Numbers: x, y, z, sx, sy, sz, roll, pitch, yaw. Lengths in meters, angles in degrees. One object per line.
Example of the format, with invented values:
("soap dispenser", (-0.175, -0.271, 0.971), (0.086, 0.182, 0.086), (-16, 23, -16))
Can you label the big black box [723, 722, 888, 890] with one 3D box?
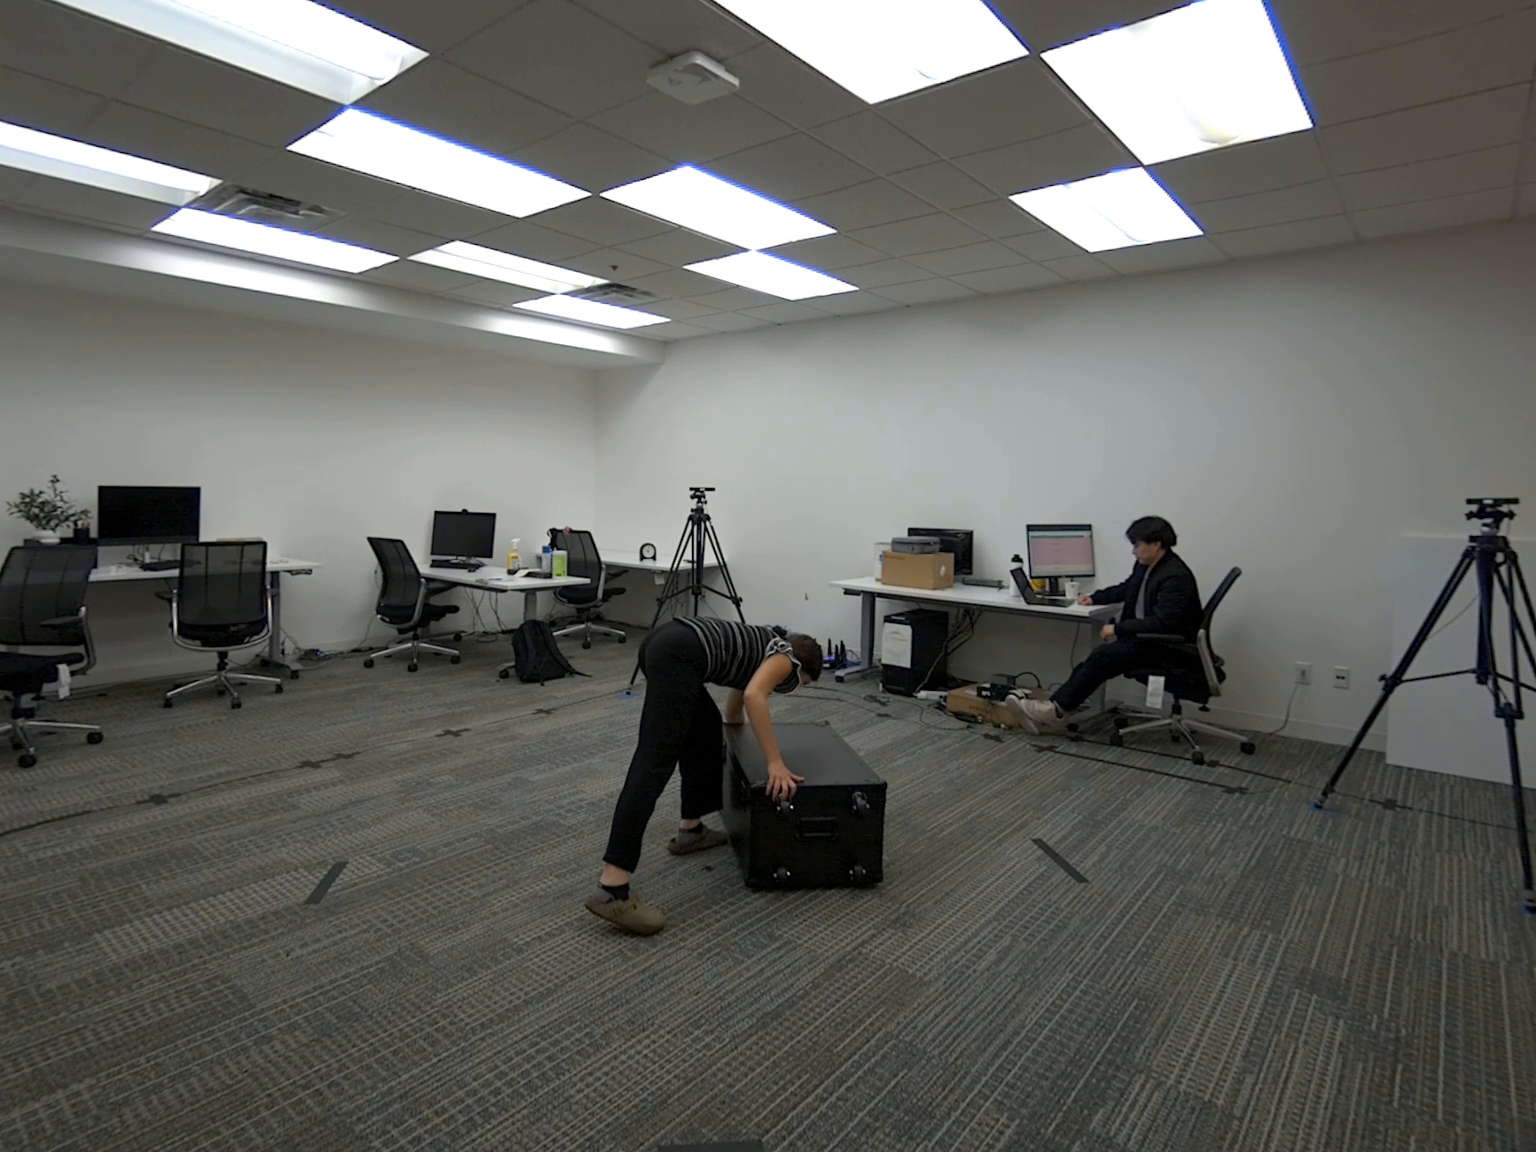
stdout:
("big black box", (0.097, 0.867, 3.288), (0.516, 0.395, 0.874), (1, 5, -11))
